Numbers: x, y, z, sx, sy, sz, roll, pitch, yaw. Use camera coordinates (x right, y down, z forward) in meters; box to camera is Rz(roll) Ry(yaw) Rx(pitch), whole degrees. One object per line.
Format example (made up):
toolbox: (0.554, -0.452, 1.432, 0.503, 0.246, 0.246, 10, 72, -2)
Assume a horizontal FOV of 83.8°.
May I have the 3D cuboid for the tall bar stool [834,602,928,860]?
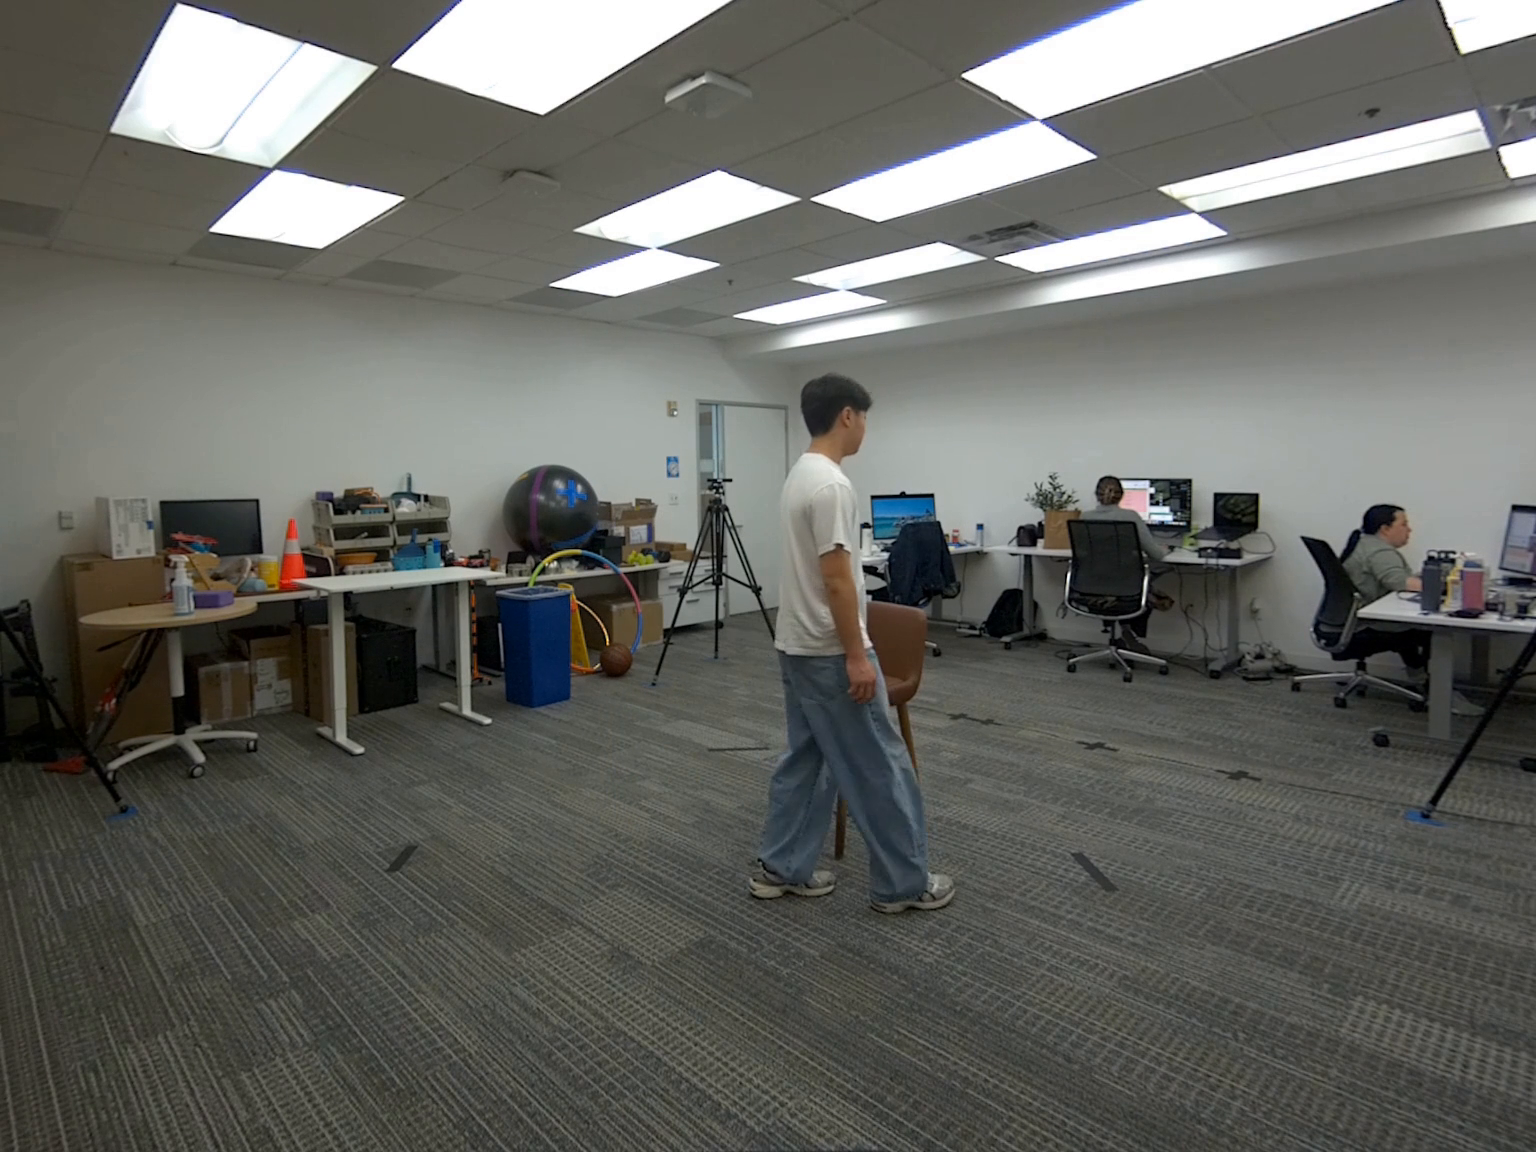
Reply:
tall bar stool: (0.339, 0.569, 3.386, 0.456, 0.887, 0.469, -2, 4, -32)
